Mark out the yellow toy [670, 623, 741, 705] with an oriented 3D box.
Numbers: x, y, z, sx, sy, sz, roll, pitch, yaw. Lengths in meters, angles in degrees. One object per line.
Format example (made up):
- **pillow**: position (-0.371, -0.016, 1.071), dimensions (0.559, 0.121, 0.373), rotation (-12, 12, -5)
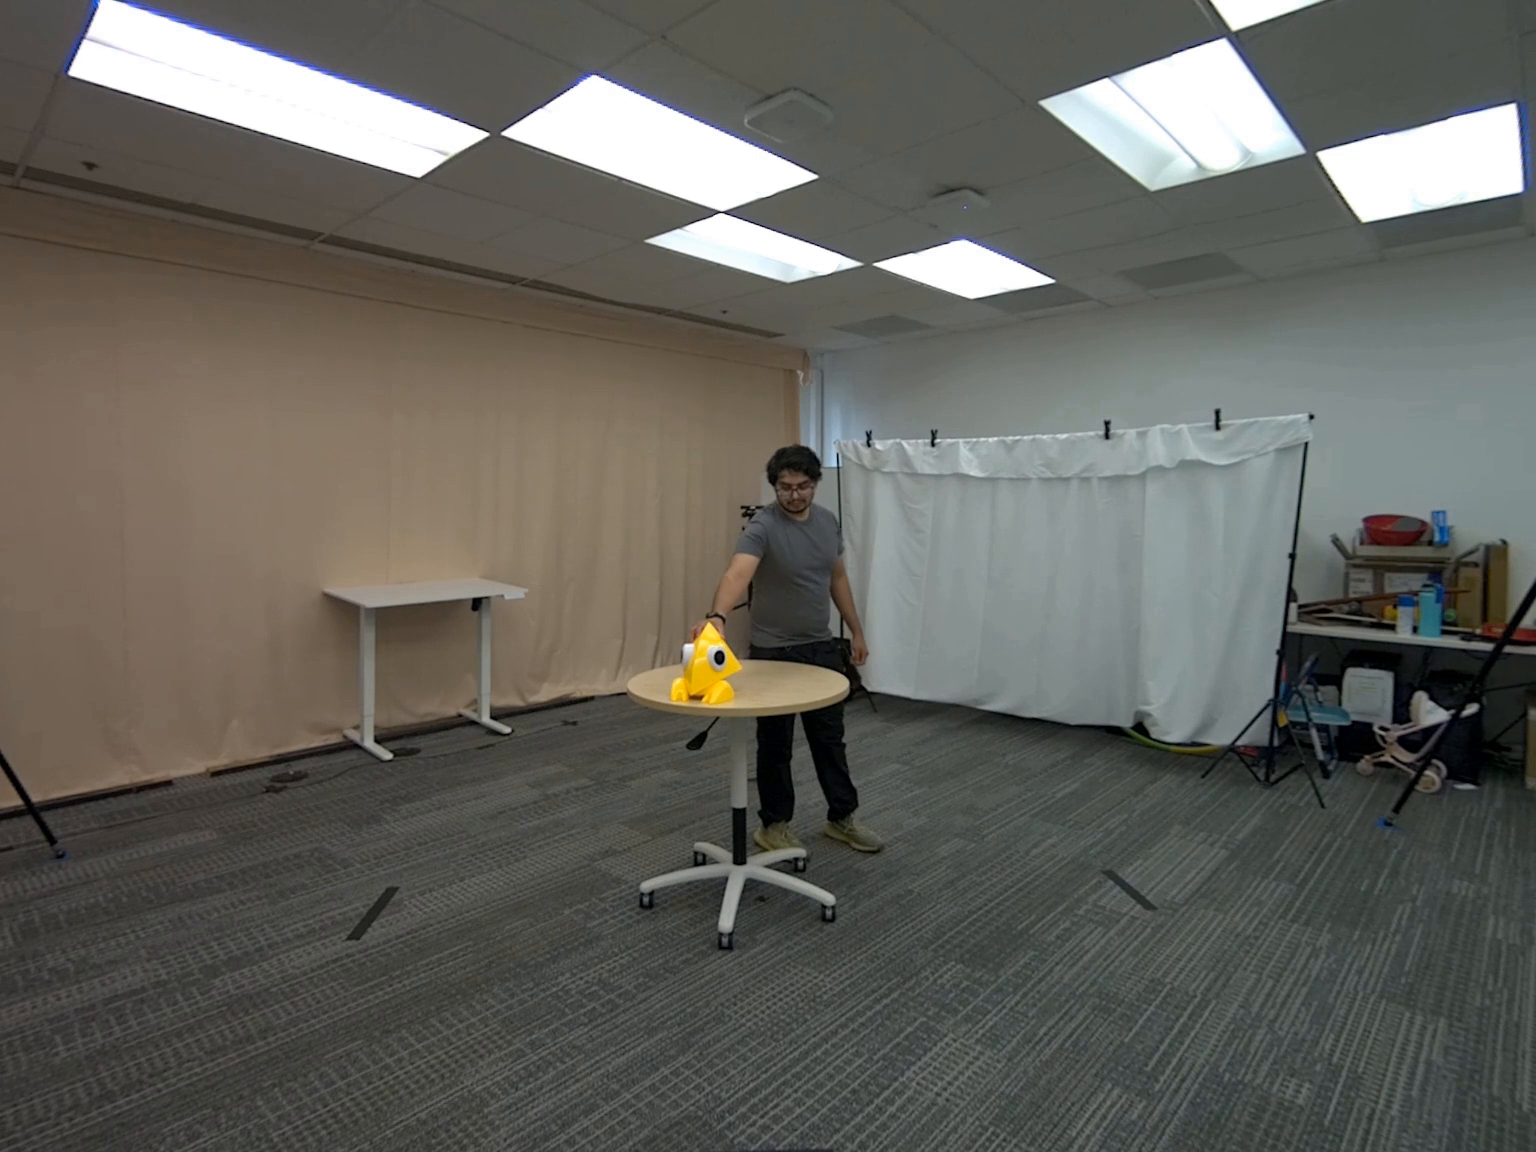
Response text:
- **yellow toy**: position (-0.204, 0.271, 2.697), dimensions (0.209, 0.230, 0.189), rotation (1, 3, 21)
